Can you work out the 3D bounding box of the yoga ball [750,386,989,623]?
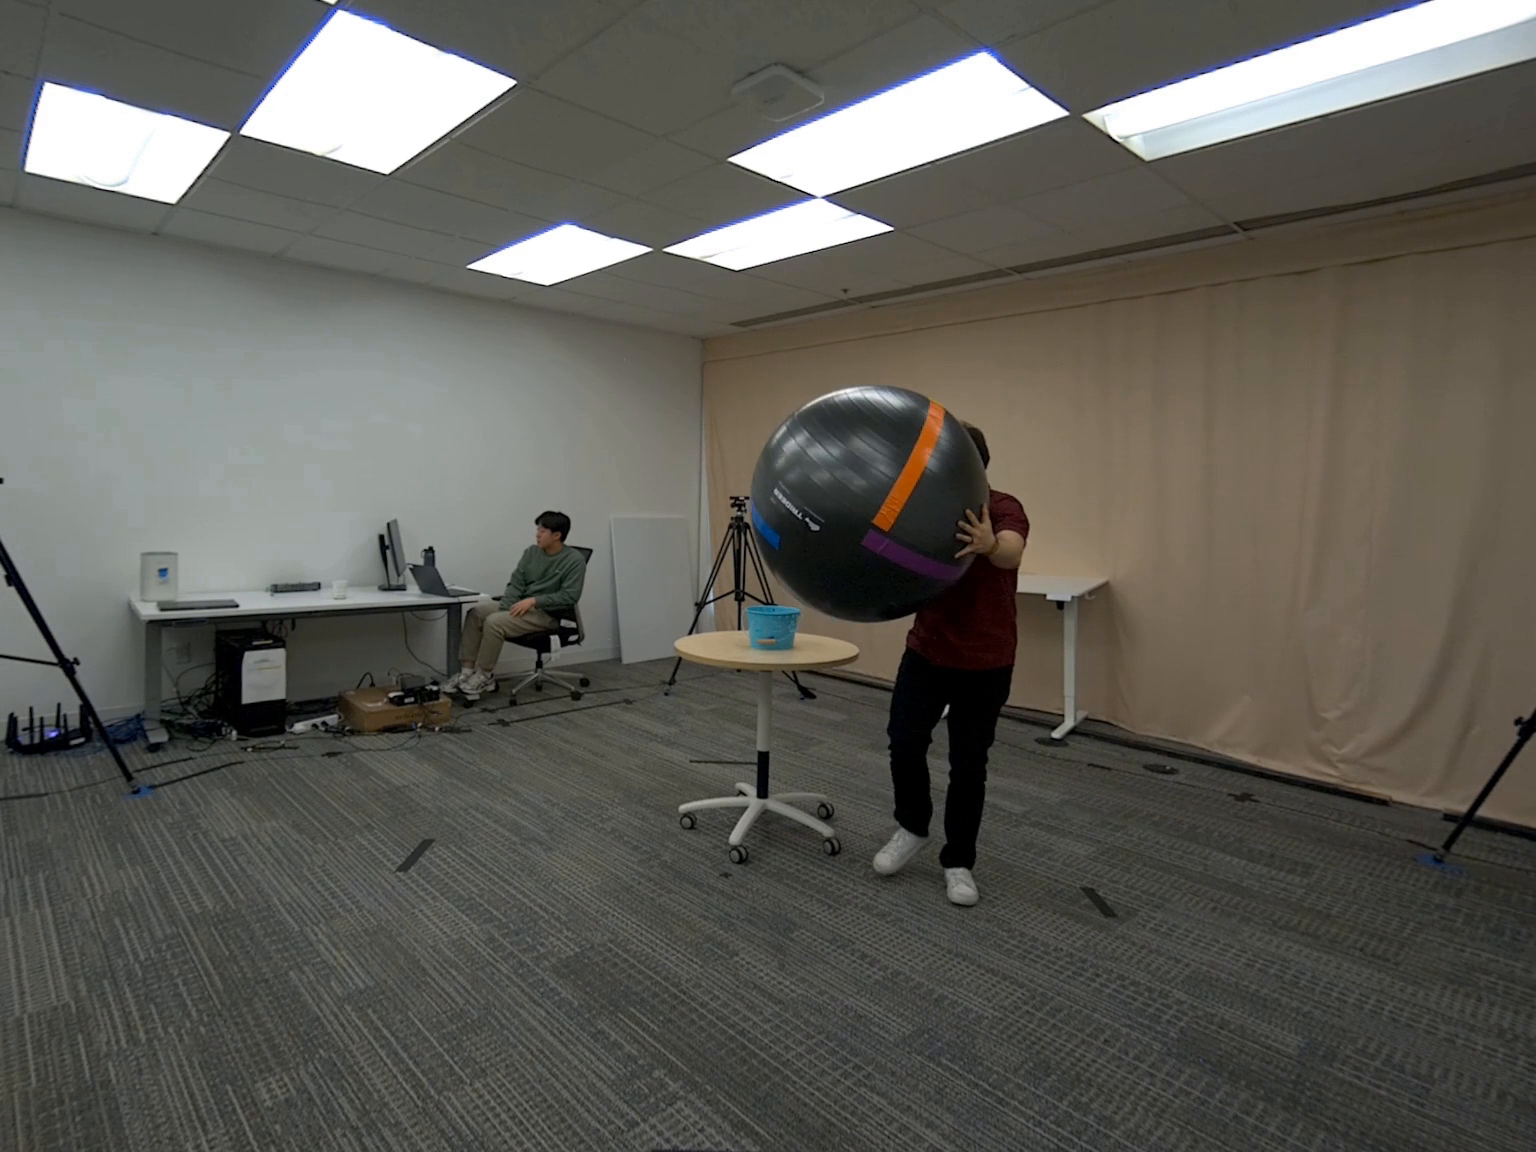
[{"bbox_3d":[0.322,-0.222,2.708,0.757,0.756,0.761,1,4,-1],"label":"yoga ball"}]
